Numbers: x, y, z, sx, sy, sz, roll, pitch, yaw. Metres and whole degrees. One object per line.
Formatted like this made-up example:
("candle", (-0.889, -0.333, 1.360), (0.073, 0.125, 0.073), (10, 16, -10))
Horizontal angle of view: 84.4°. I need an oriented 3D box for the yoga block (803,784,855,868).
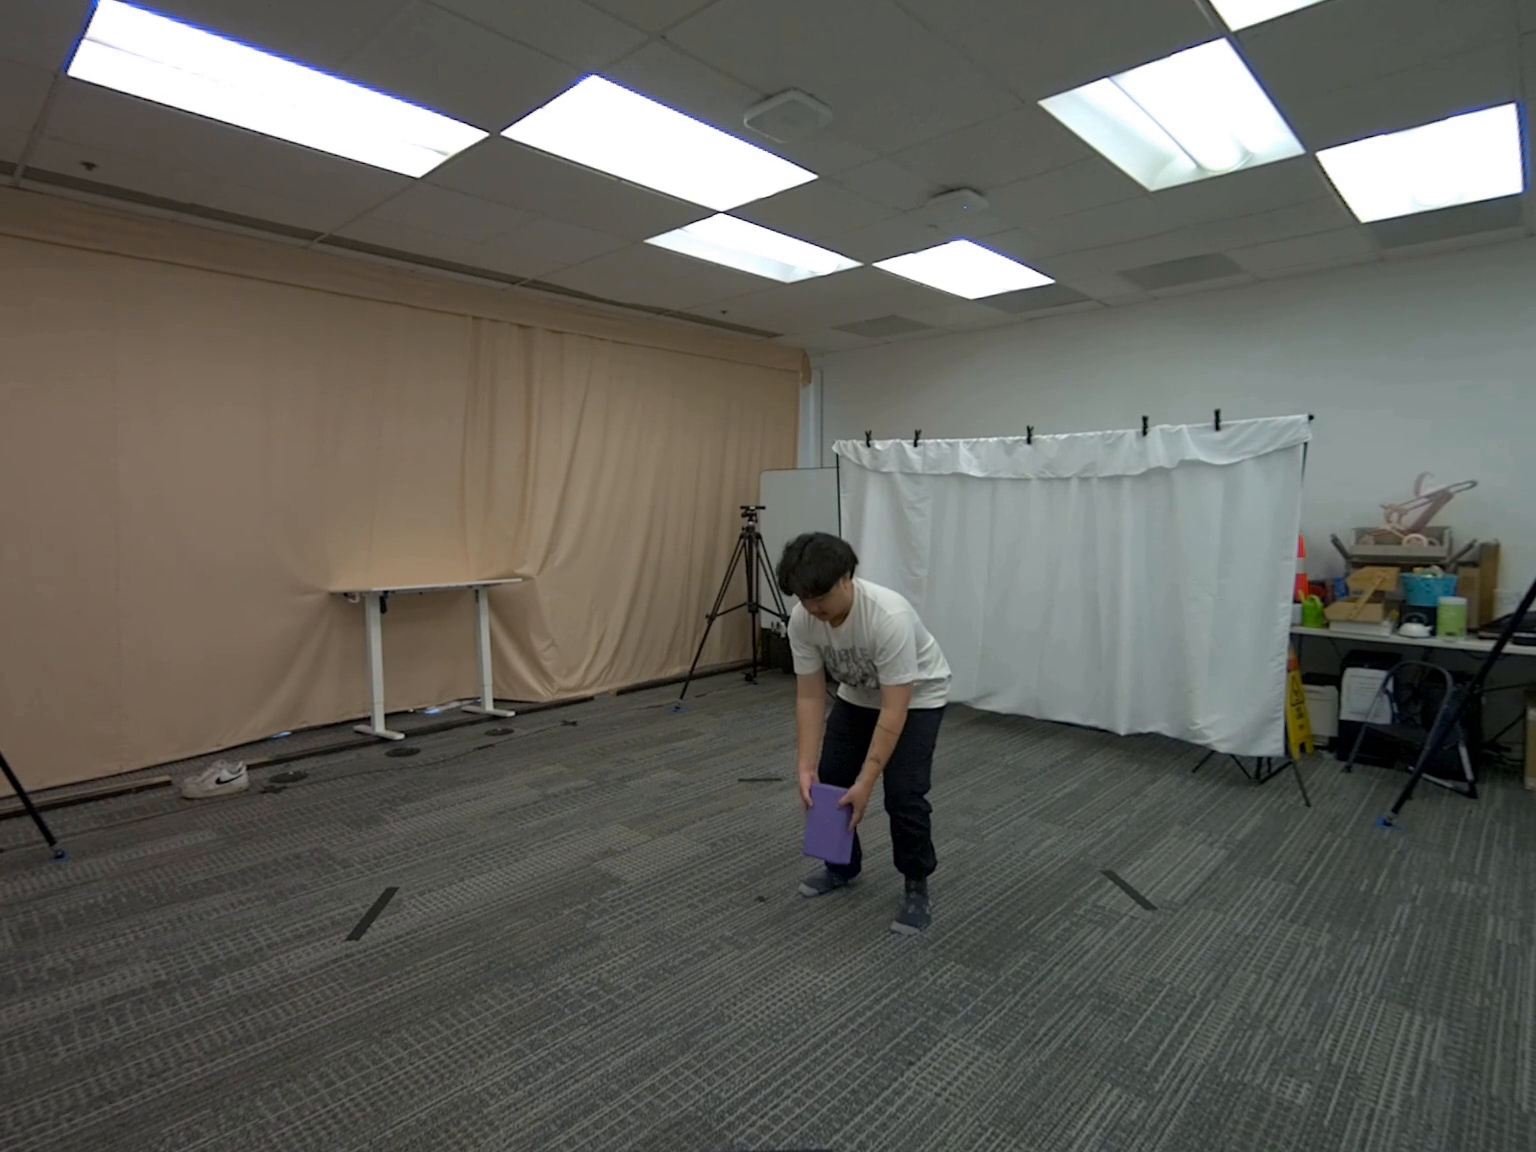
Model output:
("yoga block", (0.208, 0.805, 2.726), (0.154, 0.230, 0.074), (1, -9, 41))
